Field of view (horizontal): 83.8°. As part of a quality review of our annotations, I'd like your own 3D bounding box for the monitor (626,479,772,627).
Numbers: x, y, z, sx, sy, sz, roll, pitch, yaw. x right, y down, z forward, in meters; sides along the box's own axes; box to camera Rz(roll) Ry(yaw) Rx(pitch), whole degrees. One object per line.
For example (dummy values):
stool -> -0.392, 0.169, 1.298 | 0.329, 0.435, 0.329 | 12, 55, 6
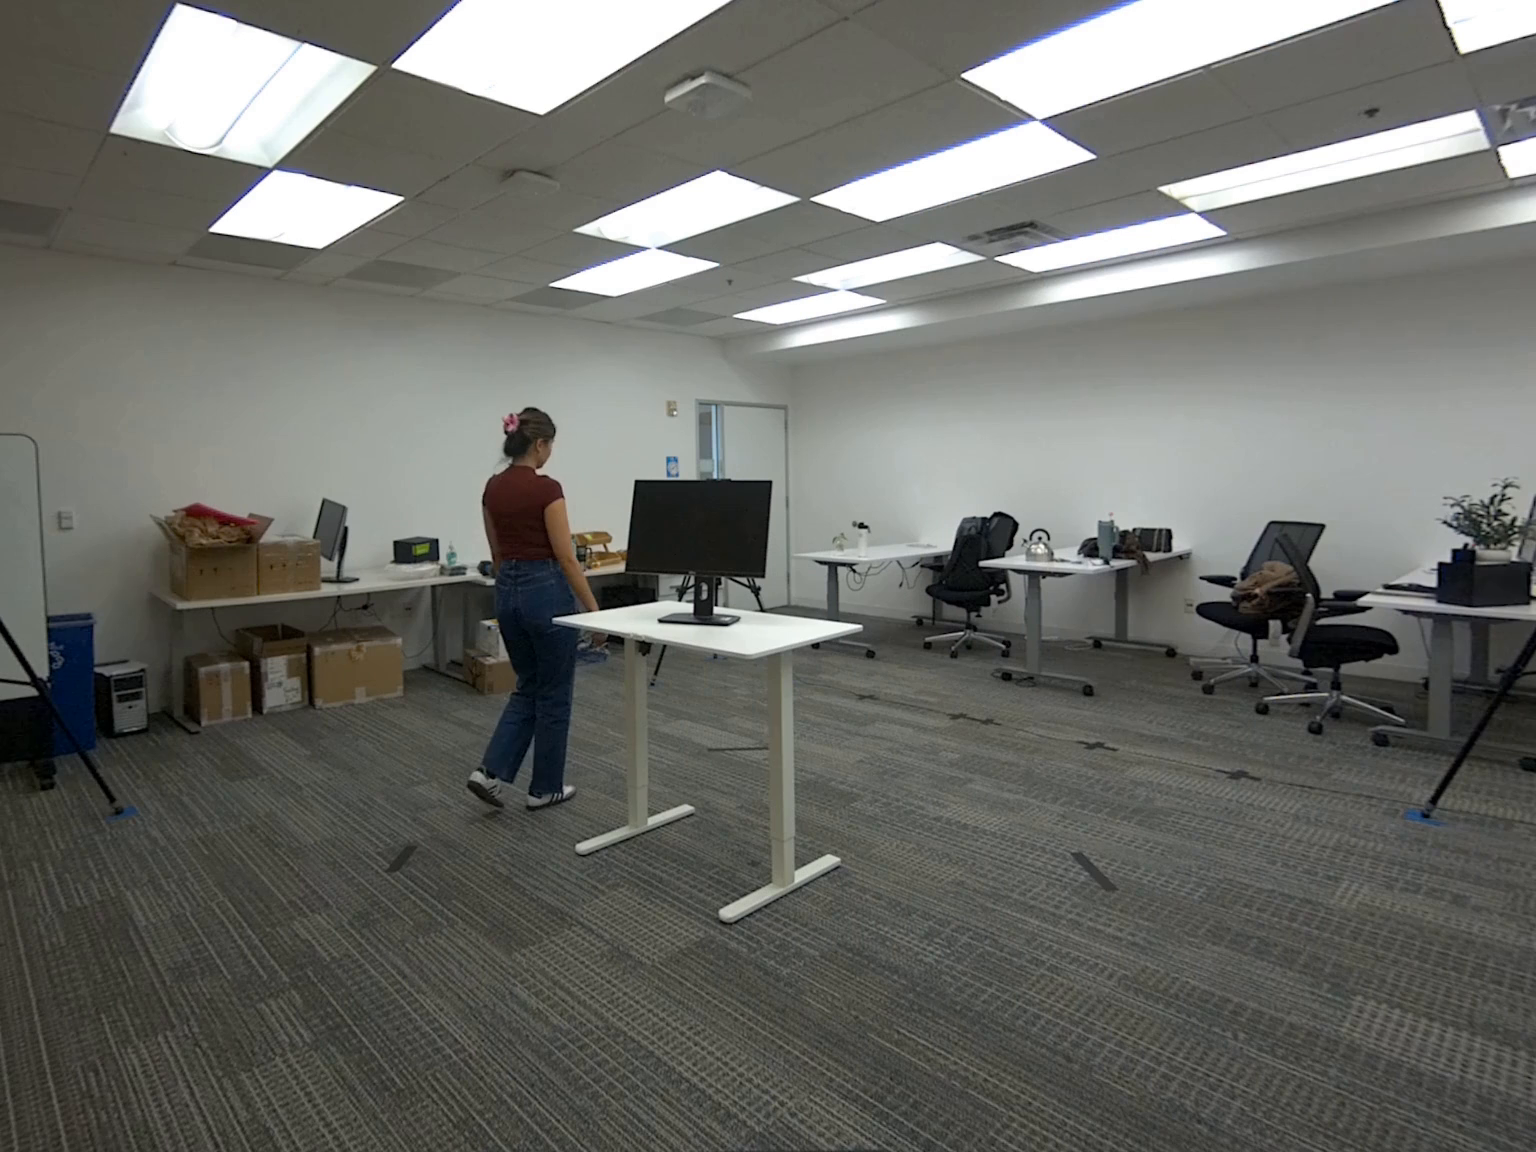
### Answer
monitor -> -0.243, -0.089, 3.117 | 0.548, 0.521, 0.184 | 2, 3, 16
